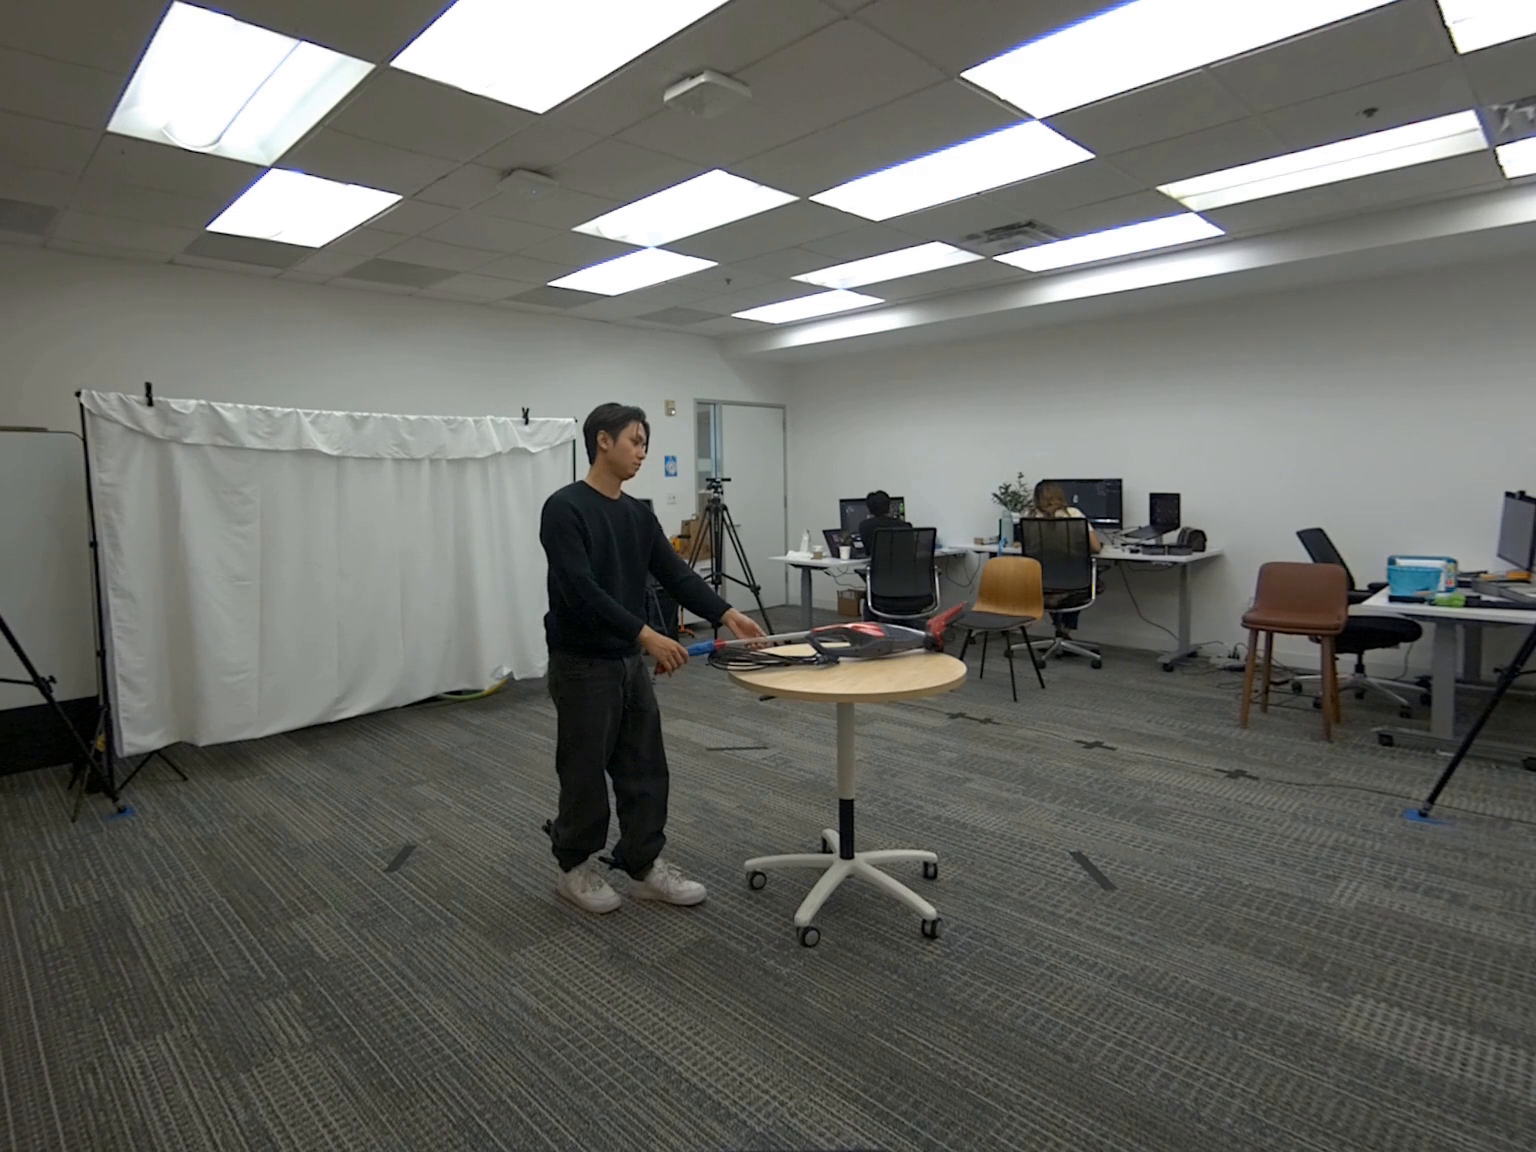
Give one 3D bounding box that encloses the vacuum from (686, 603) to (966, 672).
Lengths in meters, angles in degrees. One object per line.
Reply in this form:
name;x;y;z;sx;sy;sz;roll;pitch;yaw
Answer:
vacuum;0.149;0.240;2.796;1.030;0.147;0.252;-6;-18;-23
